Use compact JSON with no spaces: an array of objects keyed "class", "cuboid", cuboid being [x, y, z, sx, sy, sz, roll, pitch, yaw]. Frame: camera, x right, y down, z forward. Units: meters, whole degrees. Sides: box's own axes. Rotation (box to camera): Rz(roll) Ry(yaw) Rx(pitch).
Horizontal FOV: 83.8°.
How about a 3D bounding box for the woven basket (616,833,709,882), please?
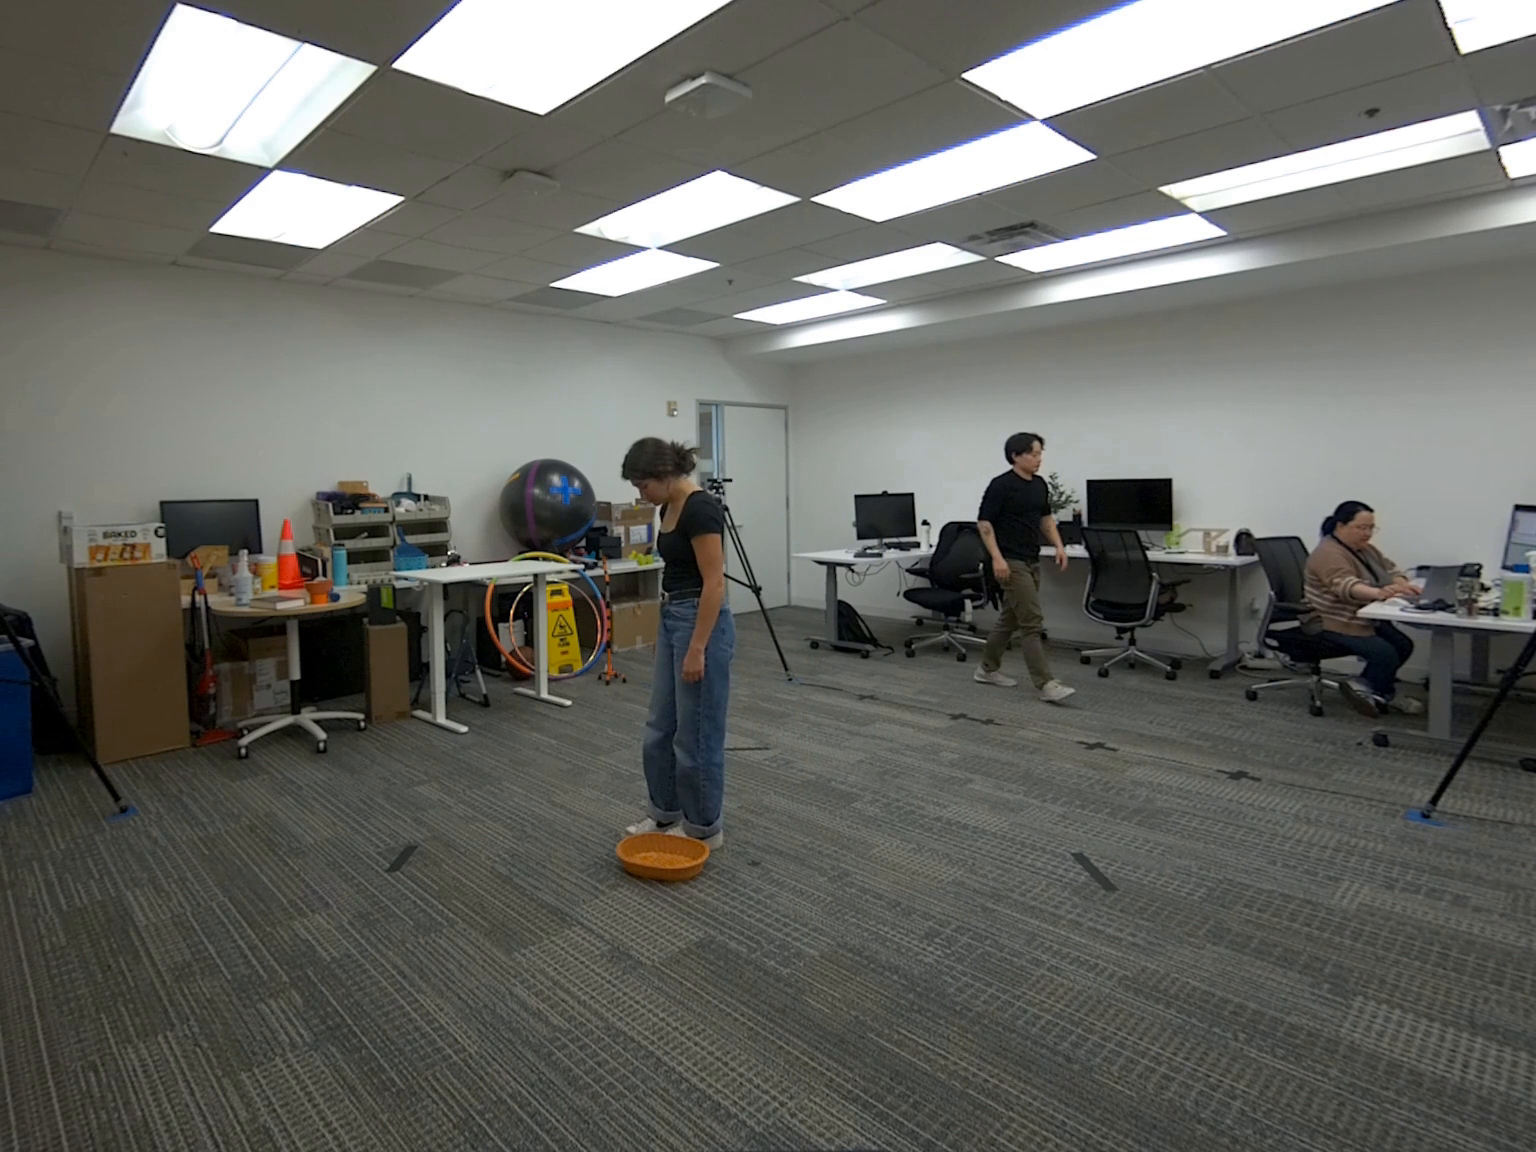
[{"class":"woven basket","cuboid":[-0.381,1.019,3.078,0.358,0.073,0.248,2,8,24]}]
